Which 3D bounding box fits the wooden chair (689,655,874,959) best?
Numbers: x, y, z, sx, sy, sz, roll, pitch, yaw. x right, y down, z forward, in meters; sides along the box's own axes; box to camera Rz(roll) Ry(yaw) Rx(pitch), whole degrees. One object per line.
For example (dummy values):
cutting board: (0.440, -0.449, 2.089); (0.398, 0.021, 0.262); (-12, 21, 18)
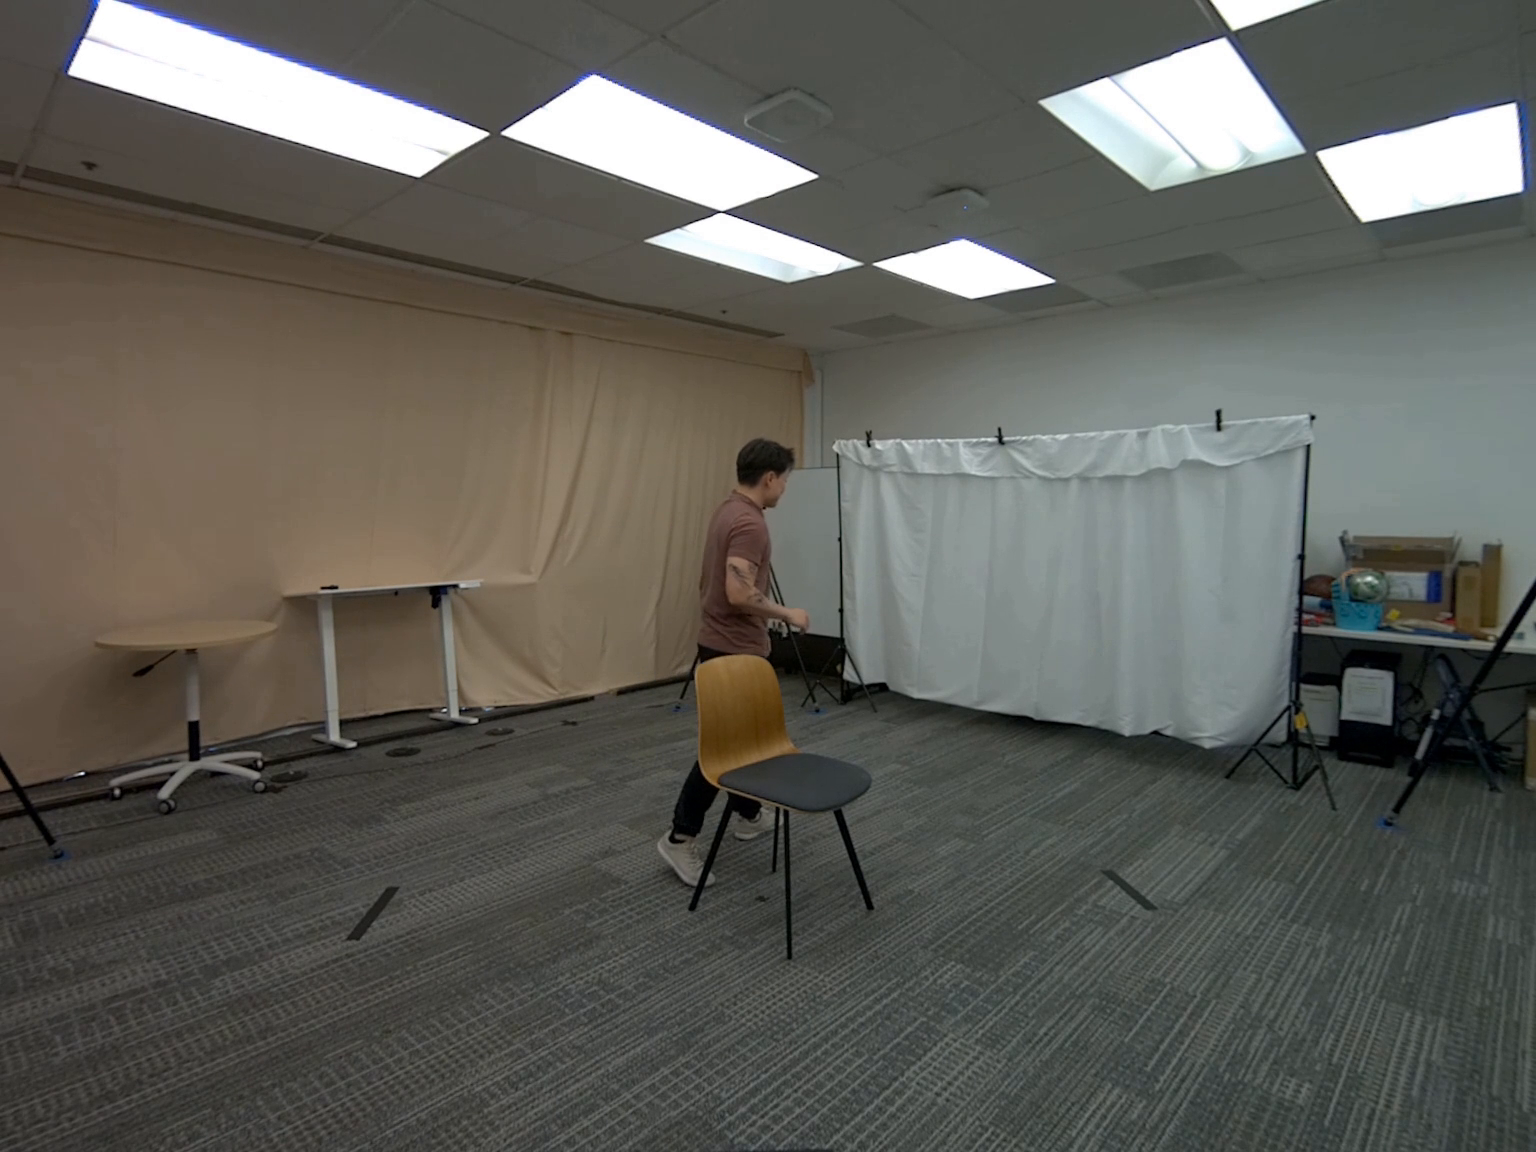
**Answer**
wooden chair: (0.057, 0.726, 2.862); (0.539, 0.877, 0.463); (-3, 0, 43)
